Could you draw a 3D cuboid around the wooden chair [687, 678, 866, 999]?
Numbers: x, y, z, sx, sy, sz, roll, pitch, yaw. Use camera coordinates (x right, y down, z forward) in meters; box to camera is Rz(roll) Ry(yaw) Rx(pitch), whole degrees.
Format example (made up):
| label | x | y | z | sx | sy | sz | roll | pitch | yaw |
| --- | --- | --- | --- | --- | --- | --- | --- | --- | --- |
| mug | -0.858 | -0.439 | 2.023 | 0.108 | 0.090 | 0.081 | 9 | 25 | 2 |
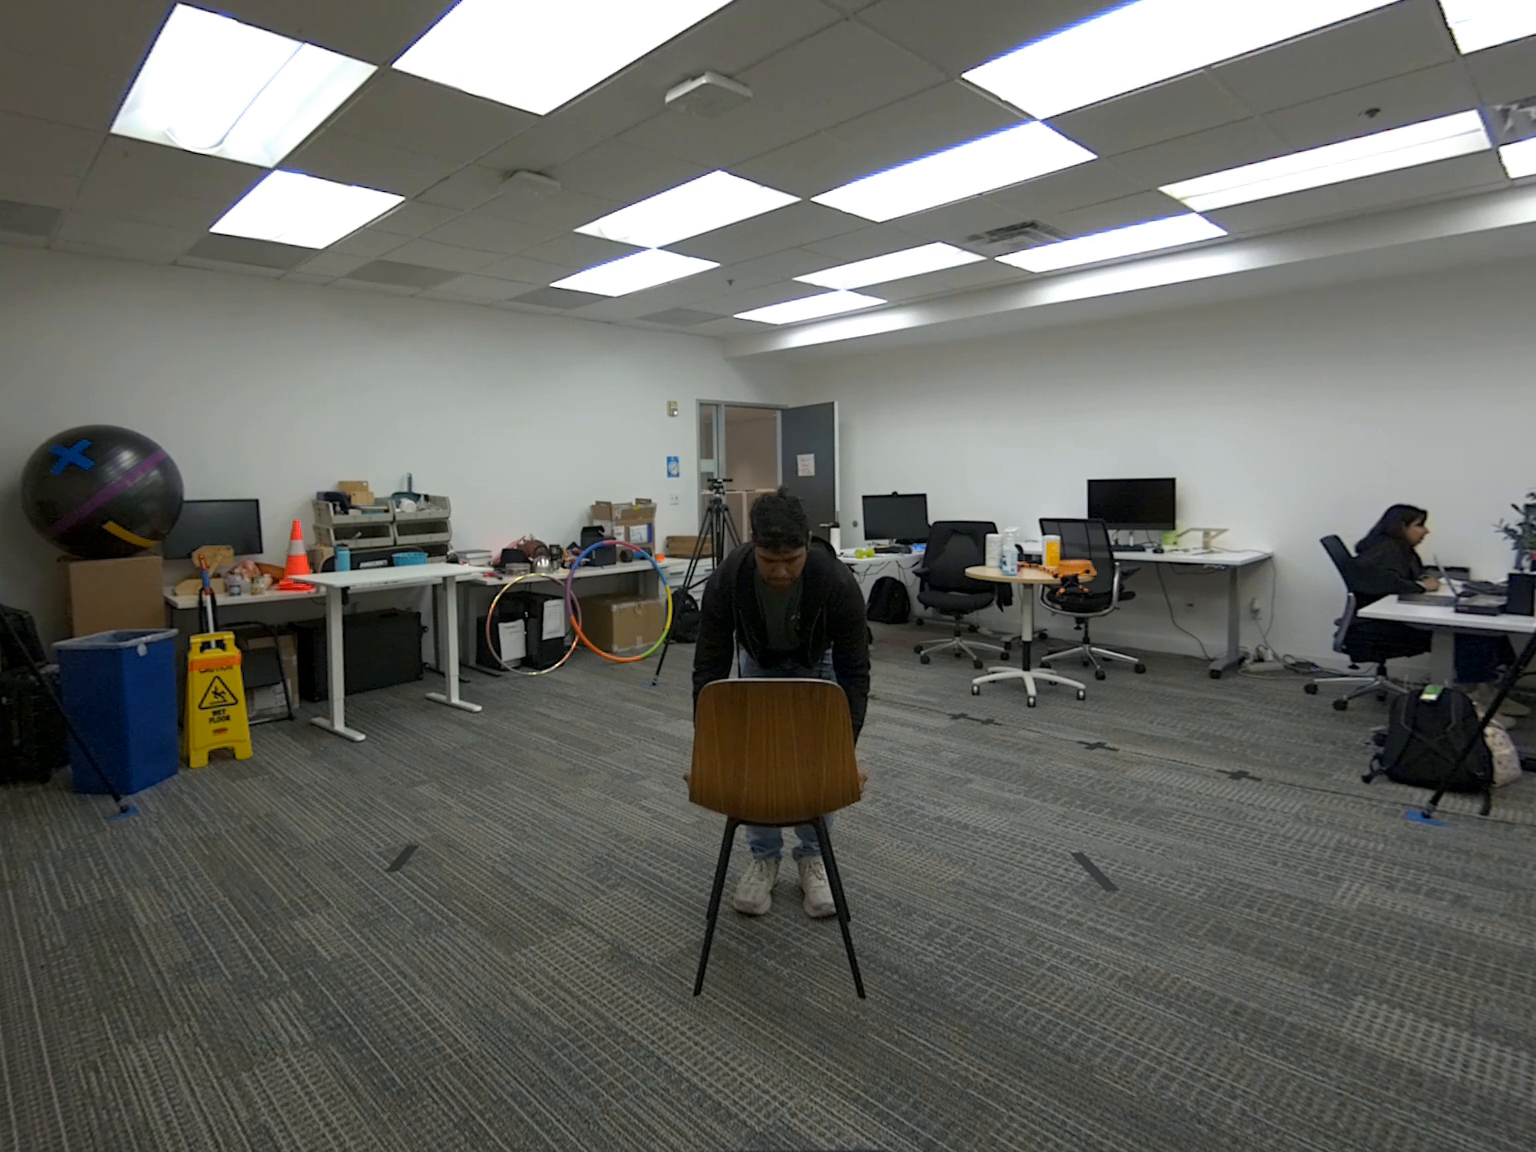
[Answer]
| label | x | y | z | sx | sy | sz | roll | pitch | yaw |
| --- | --- | --- | --- | --- | --- | --- | --- | --- | --- |
| wooden chair | 0.018 | 0.656 | 2.461 | 0.479 | 0.873 | 0.524 | -2 | 5 | 2 |
